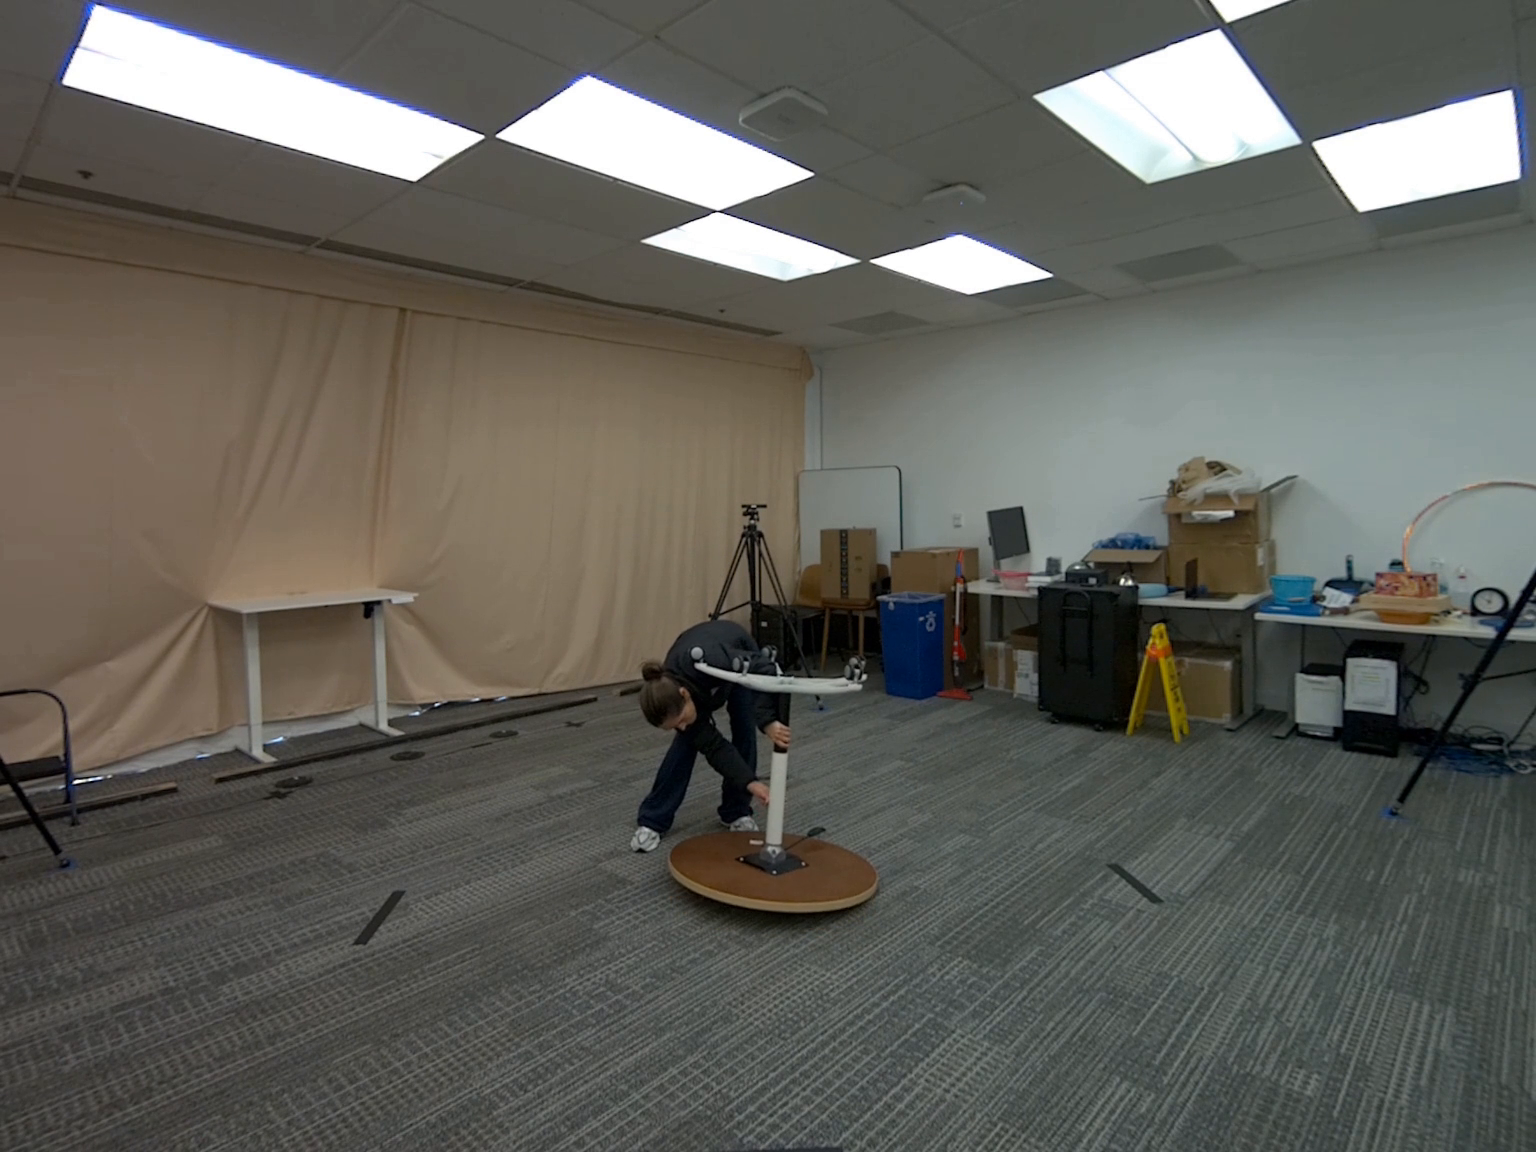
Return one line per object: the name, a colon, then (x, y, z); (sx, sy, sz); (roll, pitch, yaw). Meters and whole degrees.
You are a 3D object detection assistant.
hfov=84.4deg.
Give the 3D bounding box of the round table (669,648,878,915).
round table: (0.068, 0.688, 3.113); (0.784, 0.787, 0.786); (4, -1, -2)
